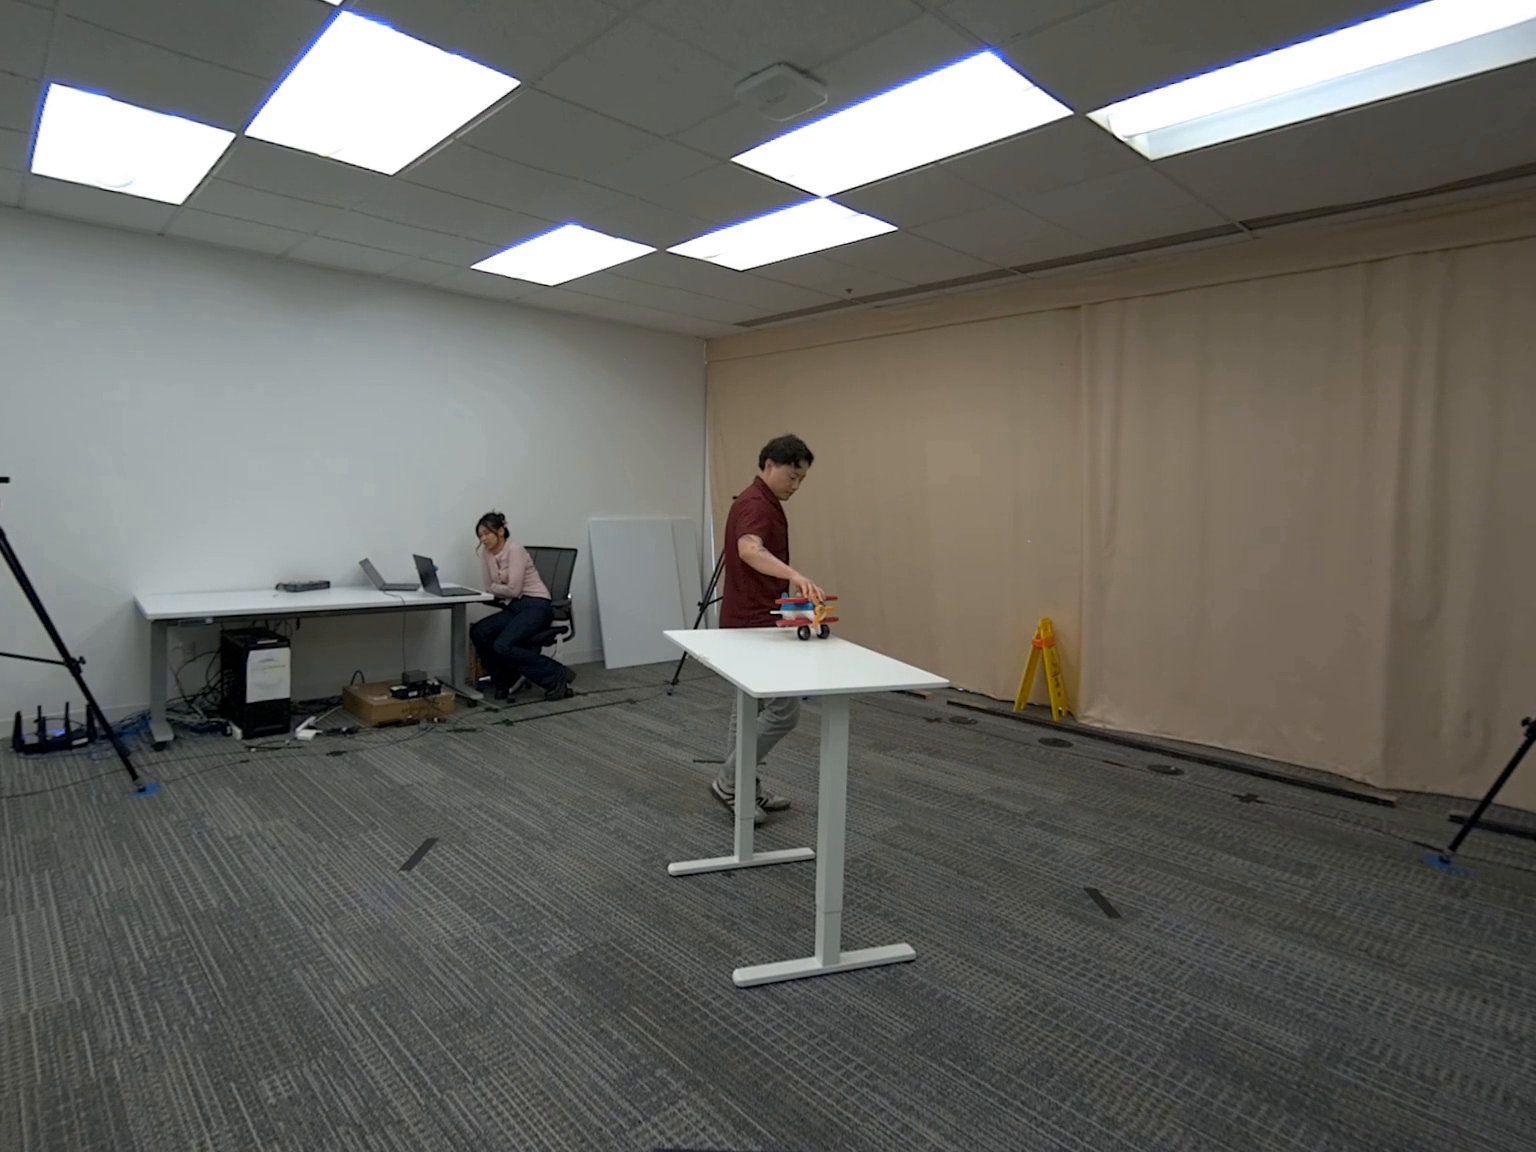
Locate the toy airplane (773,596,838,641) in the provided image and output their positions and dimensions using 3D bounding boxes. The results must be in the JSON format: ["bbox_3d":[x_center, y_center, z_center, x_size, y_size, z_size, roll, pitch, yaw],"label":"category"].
[{"bbox_3d":[0.103,0.142,3.113,0.265,0.155,0.247,11,12,30],"label":"toy airplane"}]
